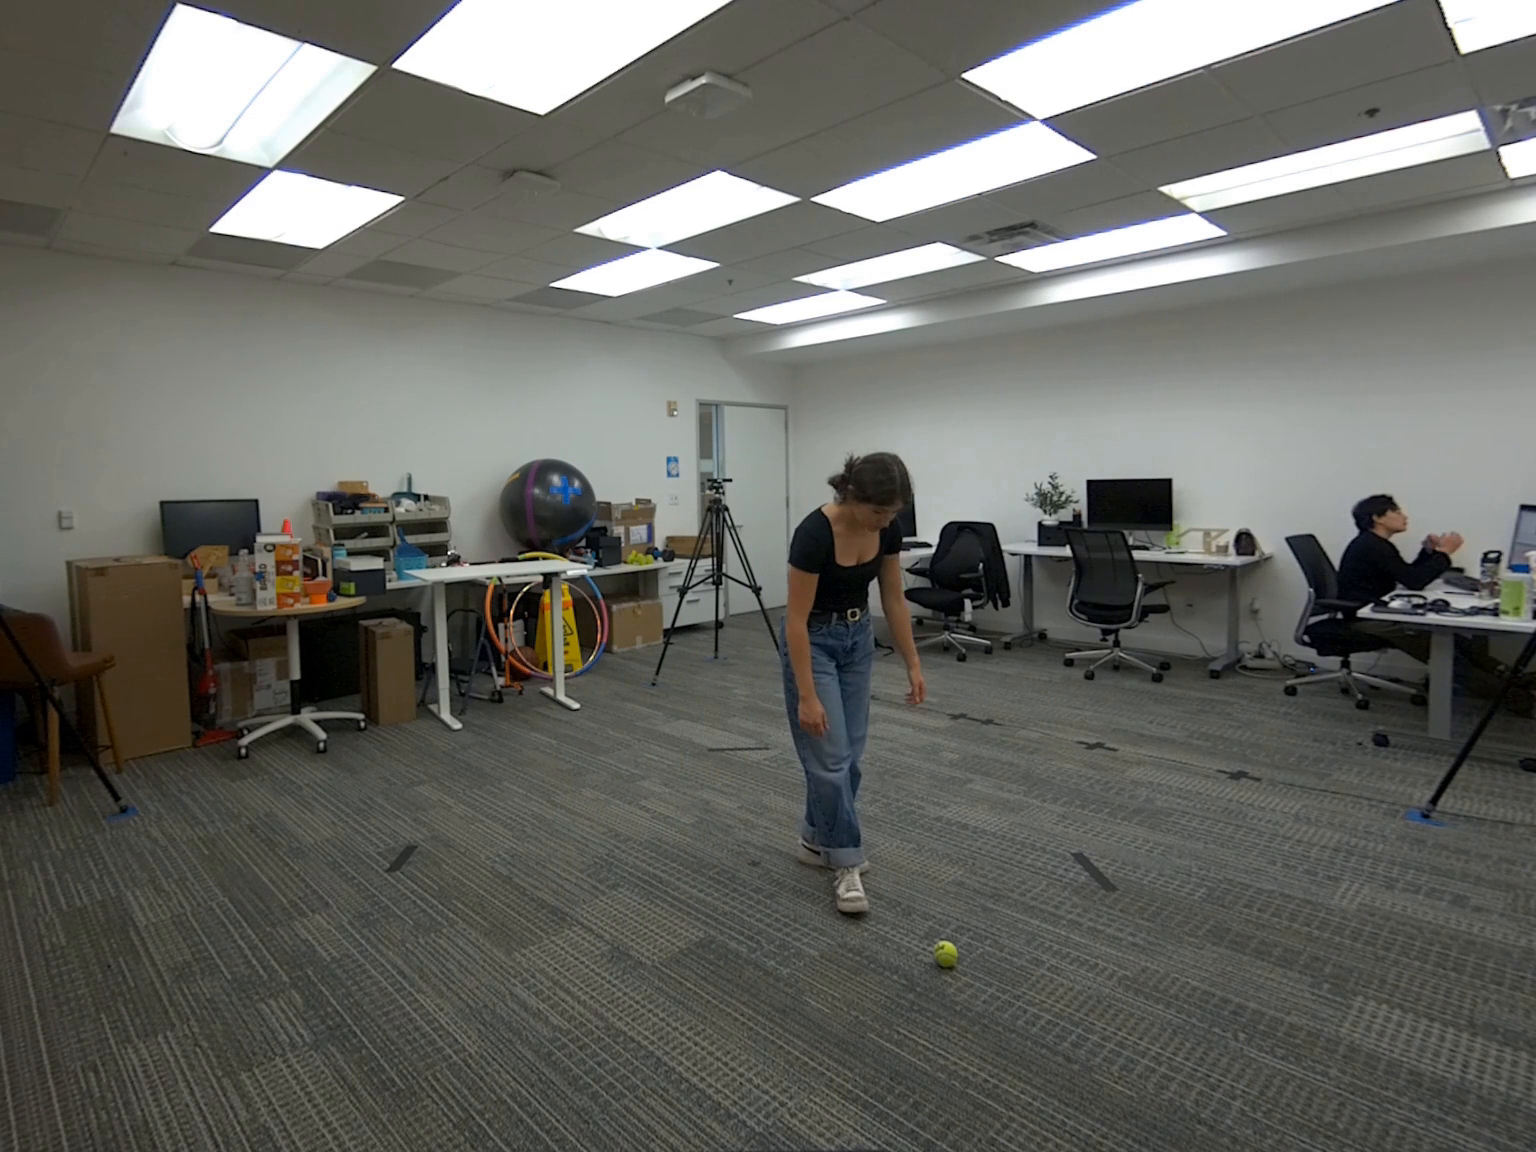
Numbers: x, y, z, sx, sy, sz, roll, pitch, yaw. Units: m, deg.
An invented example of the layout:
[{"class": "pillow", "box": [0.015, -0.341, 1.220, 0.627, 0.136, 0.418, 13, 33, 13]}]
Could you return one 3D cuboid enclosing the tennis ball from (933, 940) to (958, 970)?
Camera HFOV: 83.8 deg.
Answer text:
[{"class": "tennis ball", "box": [0.517, 1.072, 2.441, 0.066, 0.066, 0.067, -1, 5, -2]}]
